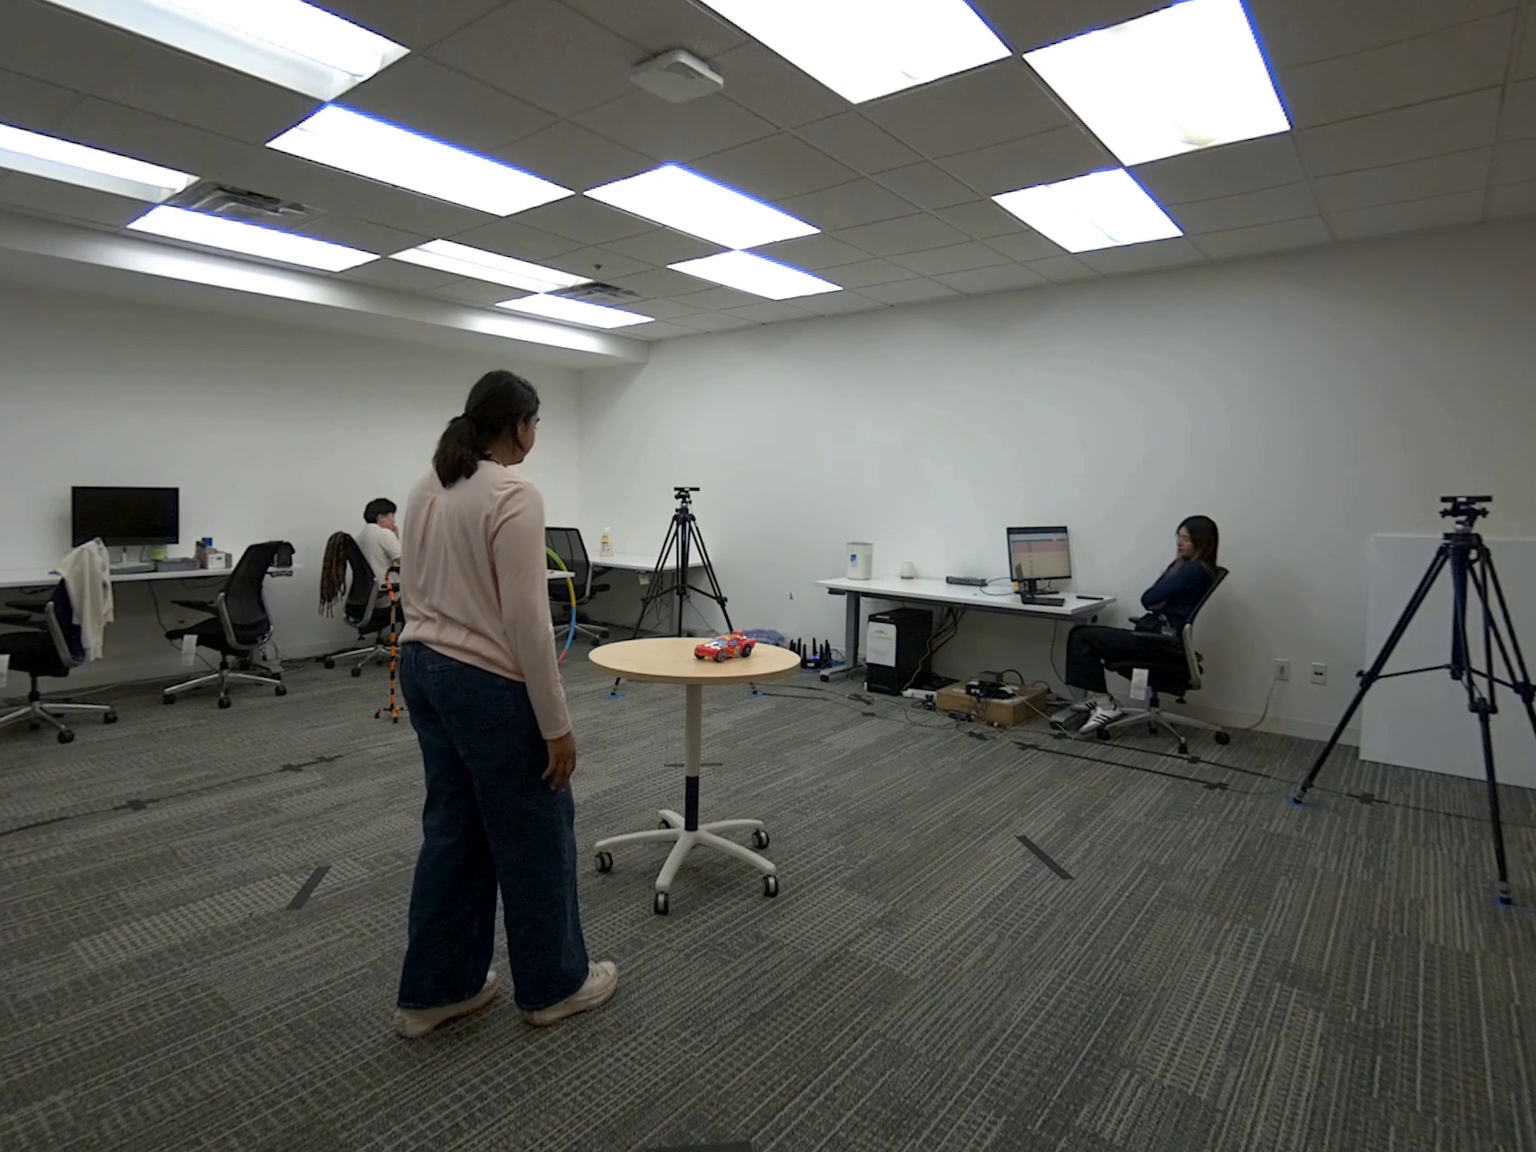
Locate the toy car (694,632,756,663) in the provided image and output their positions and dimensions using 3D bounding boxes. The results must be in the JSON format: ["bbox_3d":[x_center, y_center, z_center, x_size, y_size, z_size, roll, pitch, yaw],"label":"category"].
[{"bbox_3d":[-0.157,0.258,3.061,0.134,0.082,0.249,4,17,39],"label":"toy car"}]
